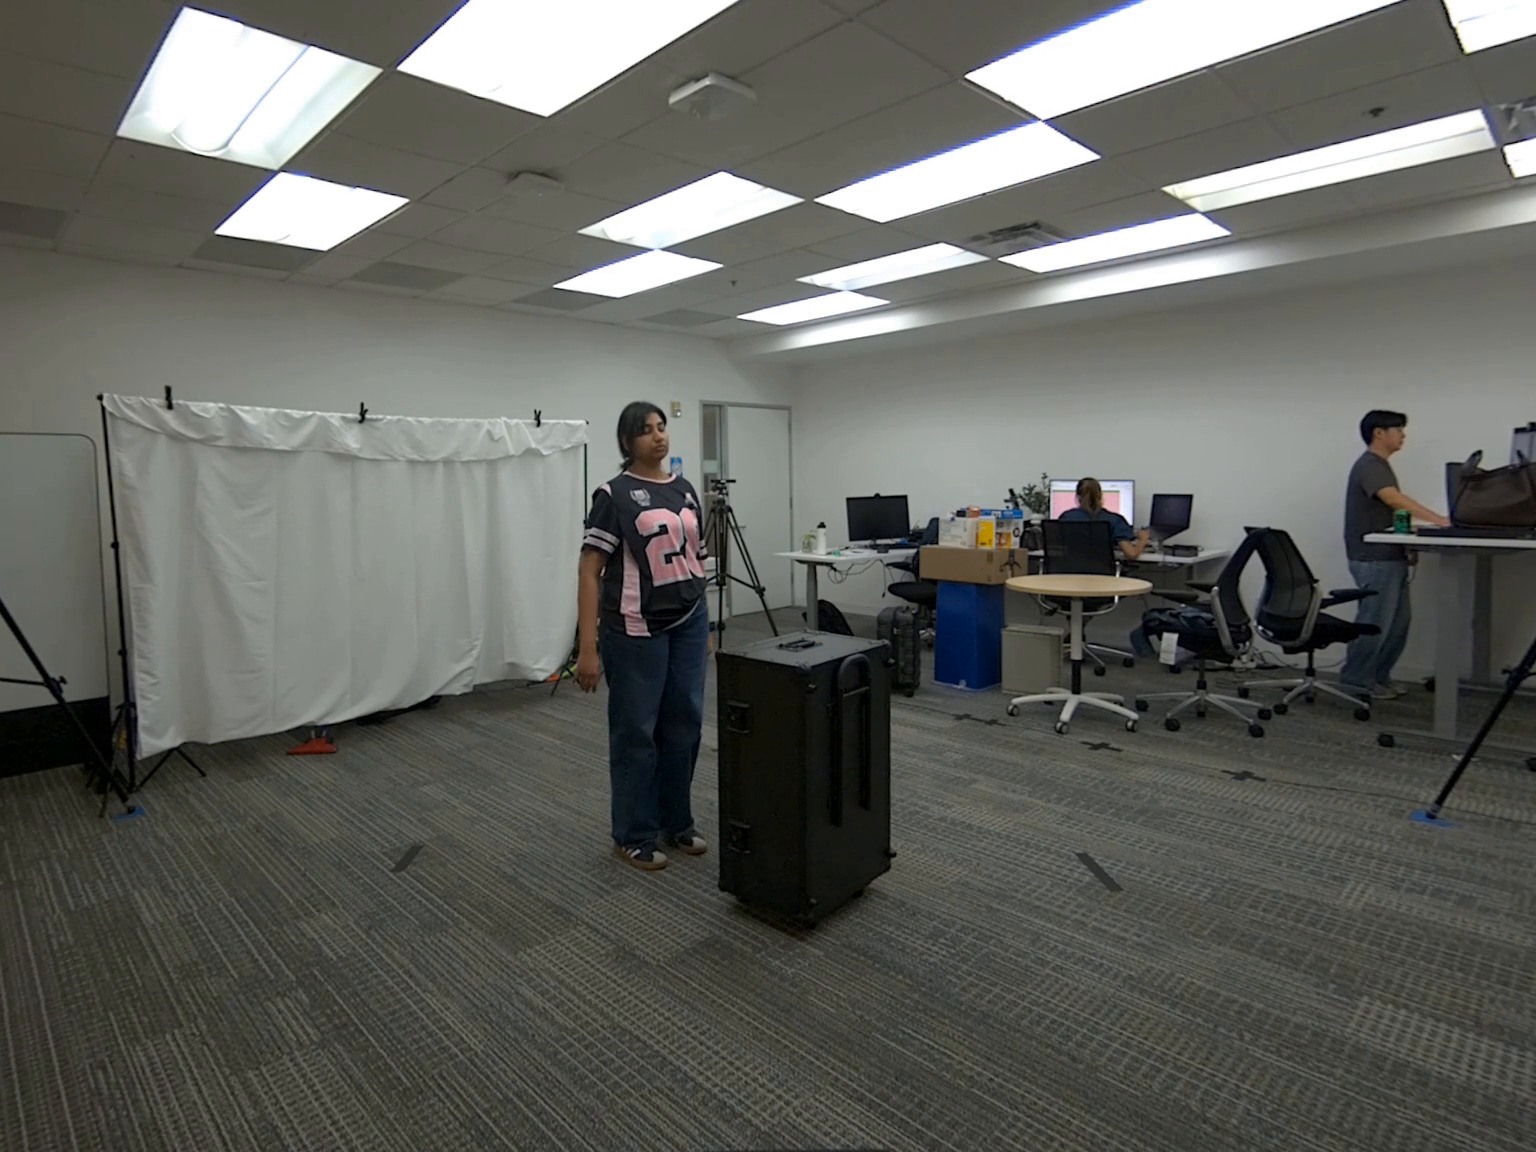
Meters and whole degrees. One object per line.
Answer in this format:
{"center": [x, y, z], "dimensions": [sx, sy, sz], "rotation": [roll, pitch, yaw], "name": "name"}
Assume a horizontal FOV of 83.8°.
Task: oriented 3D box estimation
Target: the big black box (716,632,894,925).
{"center": [0.138, 0.659, 2.807], "dimensions": [0.397, 0.865, 0.510], "rotation": [3, 6, 40], "name": "big black box"}
